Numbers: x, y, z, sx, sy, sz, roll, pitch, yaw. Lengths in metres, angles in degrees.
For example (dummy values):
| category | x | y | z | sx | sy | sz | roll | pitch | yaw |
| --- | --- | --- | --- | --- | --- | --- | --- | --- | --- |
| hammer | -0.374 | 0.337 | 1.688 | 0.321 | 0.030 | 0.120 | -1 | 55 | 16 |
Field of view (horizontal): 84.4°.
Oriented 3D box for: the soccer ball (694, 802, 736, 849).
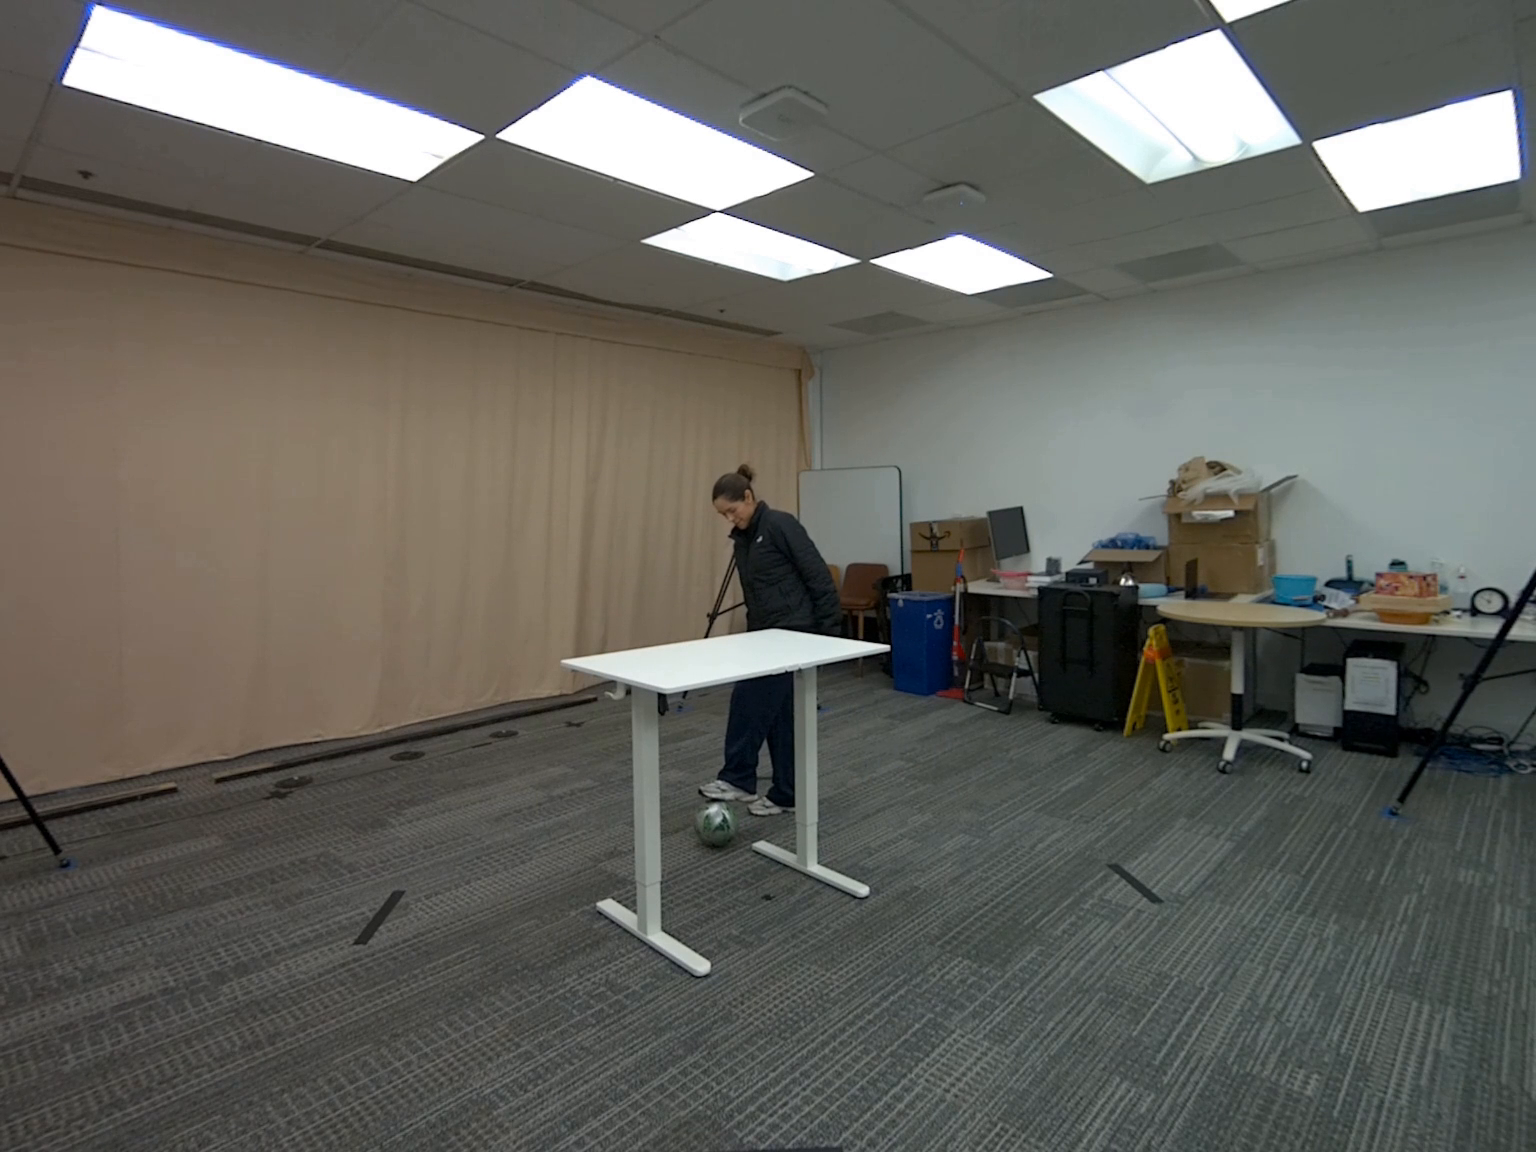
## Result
| category | x | y | z | sx | sy | sz | roll | pitch | yaw |
| --- | --- | --- | --- | --- | --- | --- | --- | --- | --- |
| soccer ball | -0.215 | 1.014 | 3.449 | 0.187 | 0.187 | 0.188 | -1 | 4 | -2 |
